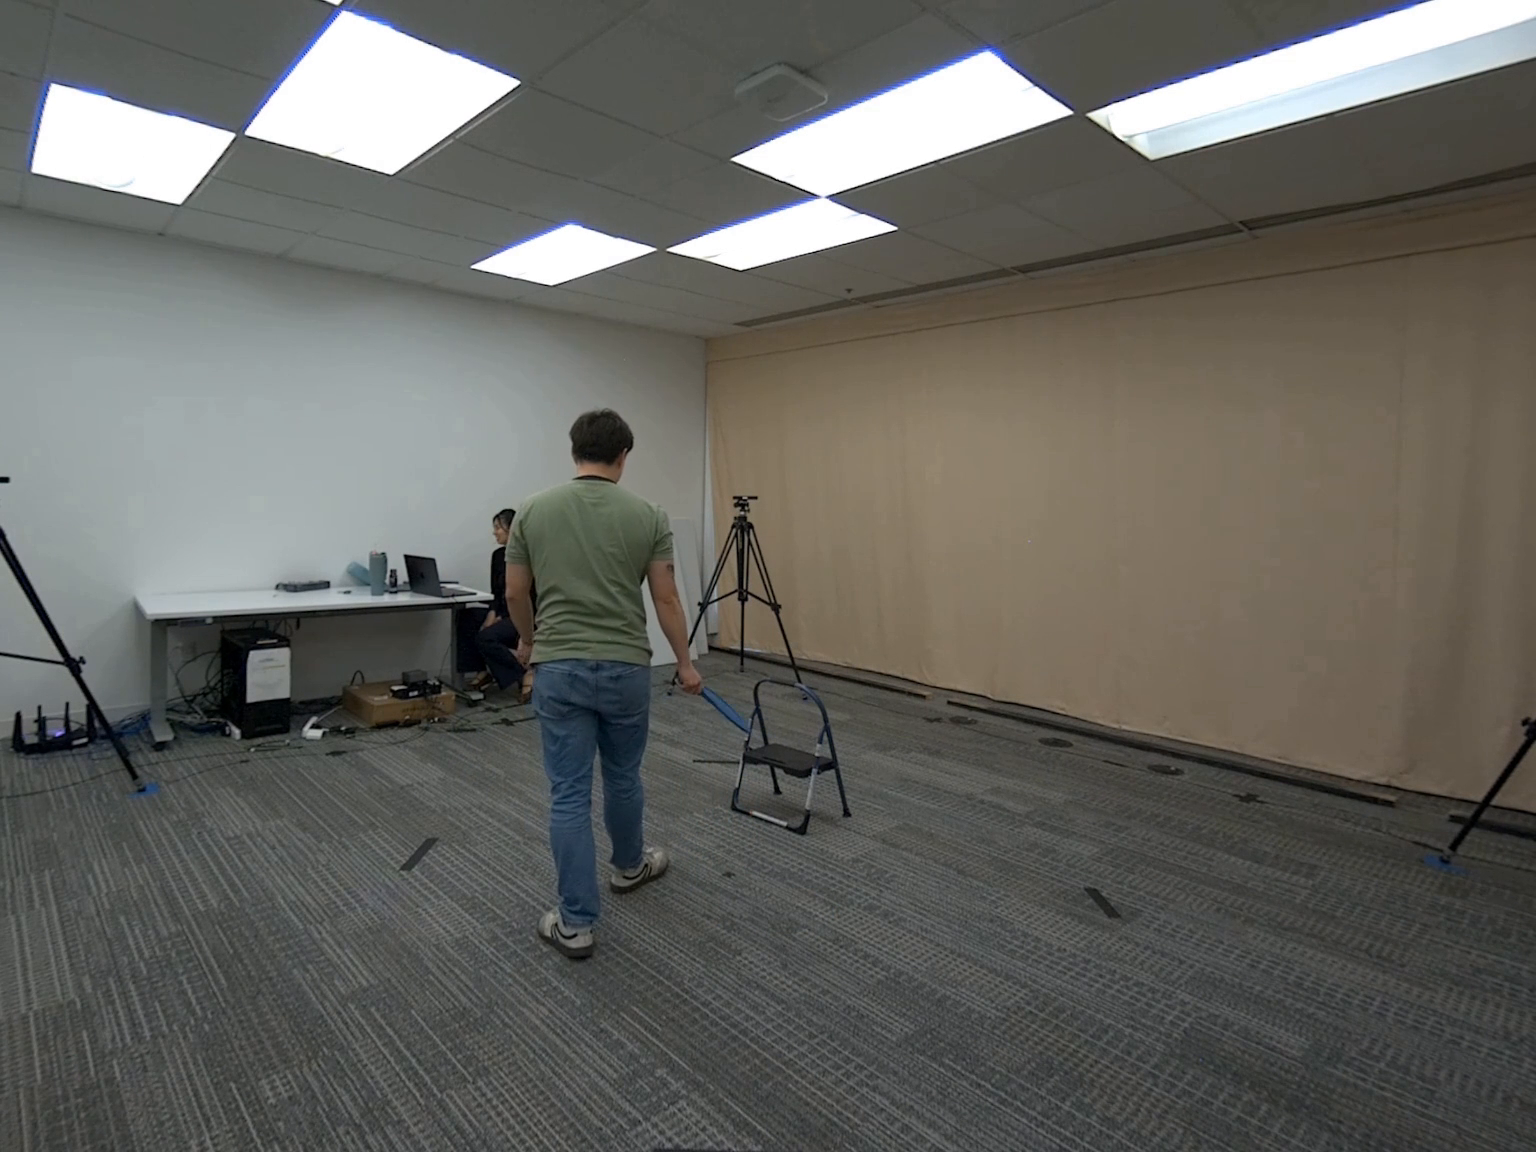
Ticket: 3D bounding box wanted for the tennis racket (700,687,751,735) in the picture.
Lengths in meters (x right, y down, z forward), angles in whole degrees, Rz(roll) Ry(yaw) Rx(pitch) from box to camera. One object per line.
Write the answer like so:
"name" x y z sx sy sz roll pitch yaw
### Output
"tennis racket" -0.200 0.437 2.996 0.220 0.032 0.419 45 1 39
